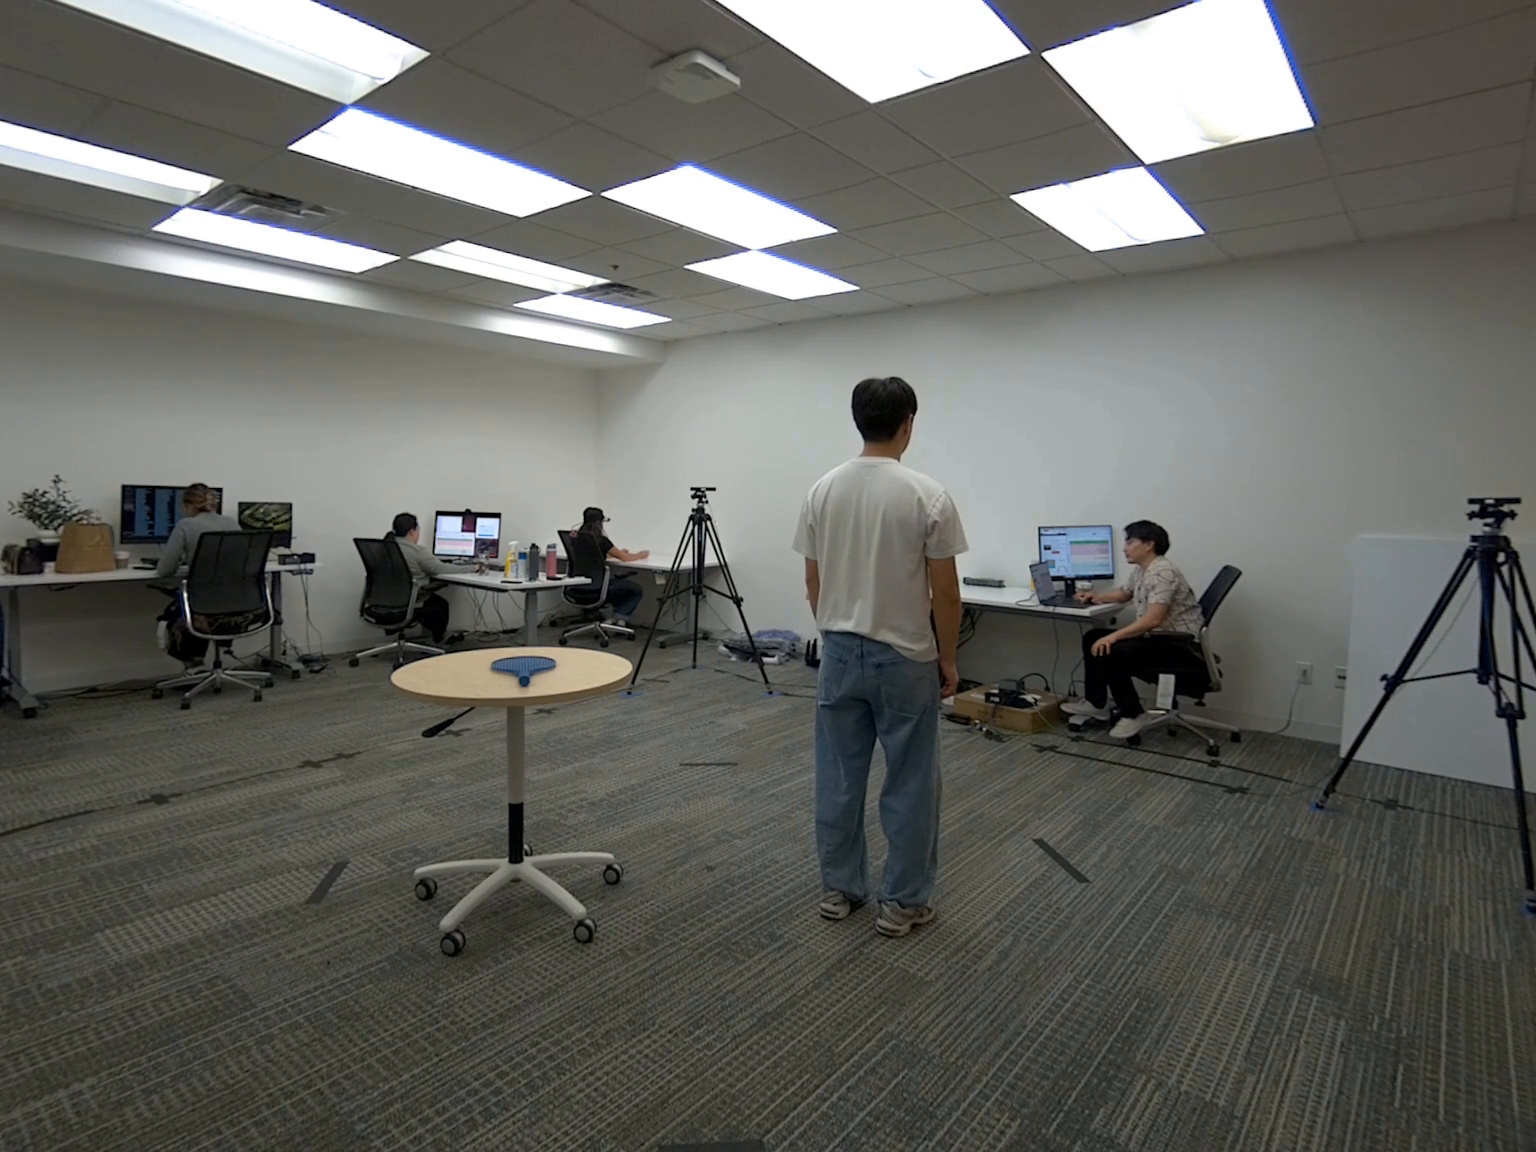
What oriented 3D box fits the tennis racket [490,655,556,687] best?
[{"bbox_3d":[-0.801,0.299,2.743,0.210,0.031,0.442,-1,5,-18],"label":"tennis racket"}]
